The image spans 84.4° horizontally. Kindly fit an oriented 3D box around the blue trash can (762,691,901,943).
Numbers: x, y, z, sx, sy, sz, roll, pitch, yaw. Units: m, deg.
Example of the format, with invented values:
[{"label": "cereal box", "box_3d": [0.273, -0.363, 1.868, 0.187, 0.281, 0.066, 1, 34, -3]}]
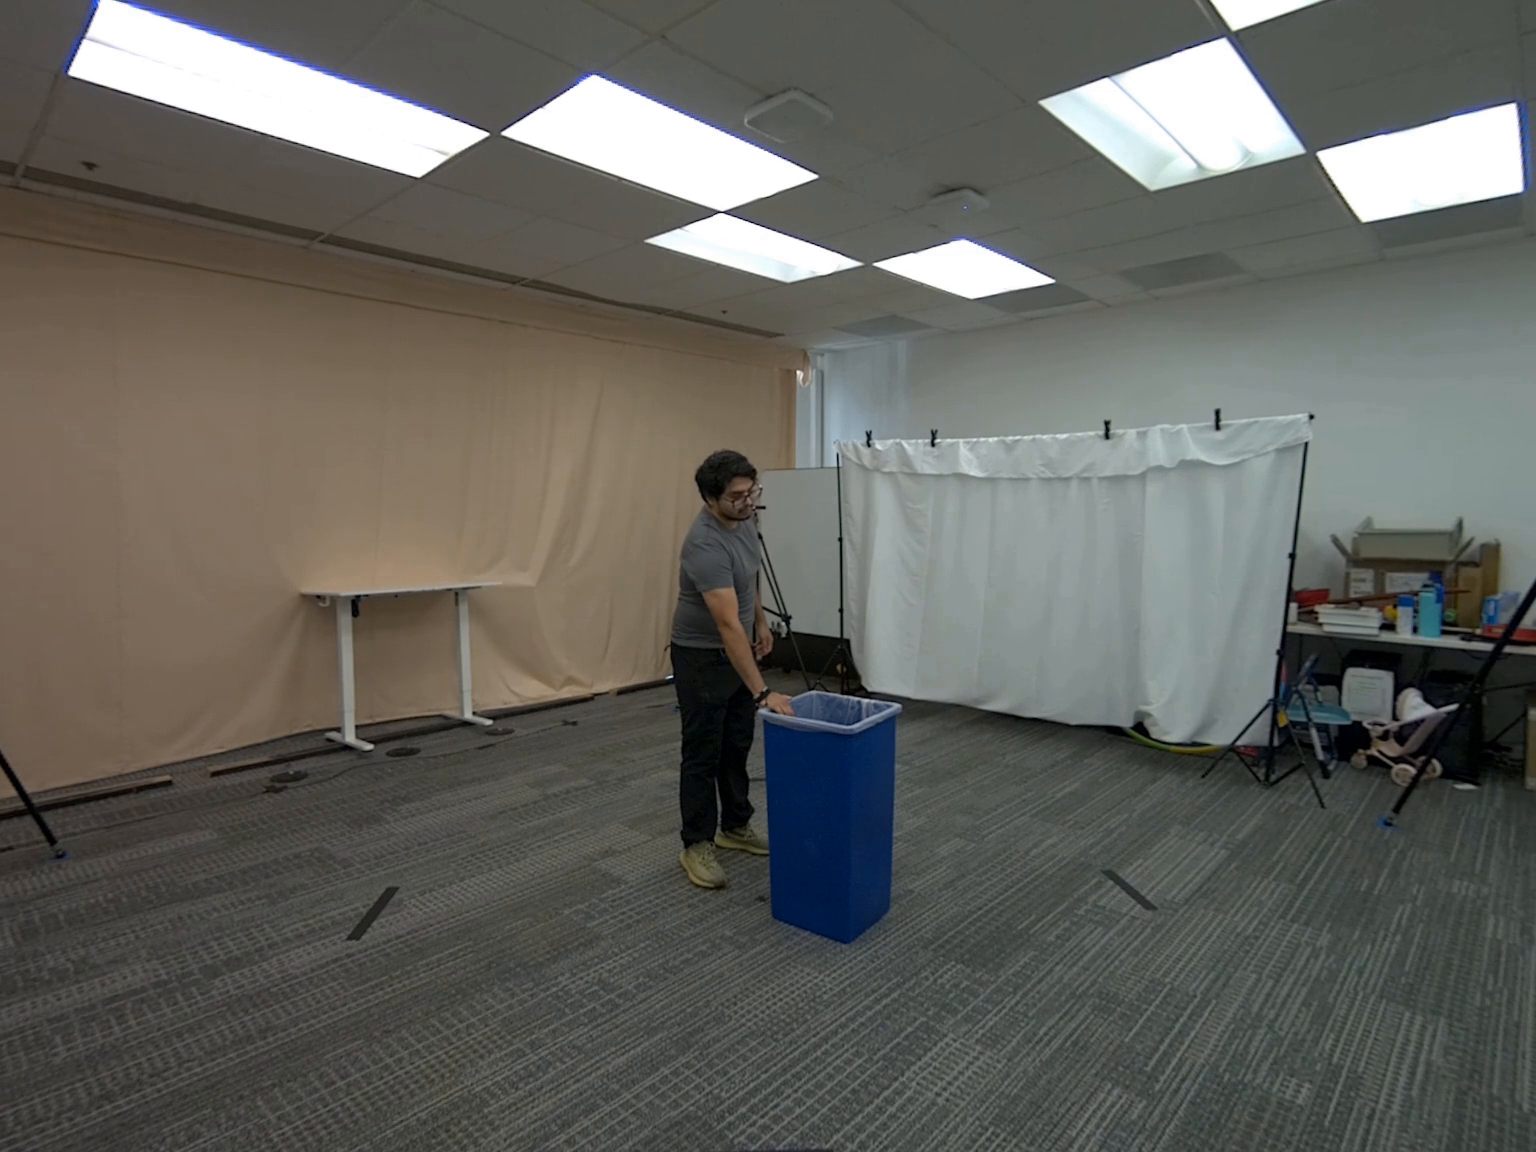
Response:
[{"label": "blue trash can", "box_3d": [0.216, 0.796, 2.844, 0.390, 0.712, 0.363, 2, 4, 37]}]
